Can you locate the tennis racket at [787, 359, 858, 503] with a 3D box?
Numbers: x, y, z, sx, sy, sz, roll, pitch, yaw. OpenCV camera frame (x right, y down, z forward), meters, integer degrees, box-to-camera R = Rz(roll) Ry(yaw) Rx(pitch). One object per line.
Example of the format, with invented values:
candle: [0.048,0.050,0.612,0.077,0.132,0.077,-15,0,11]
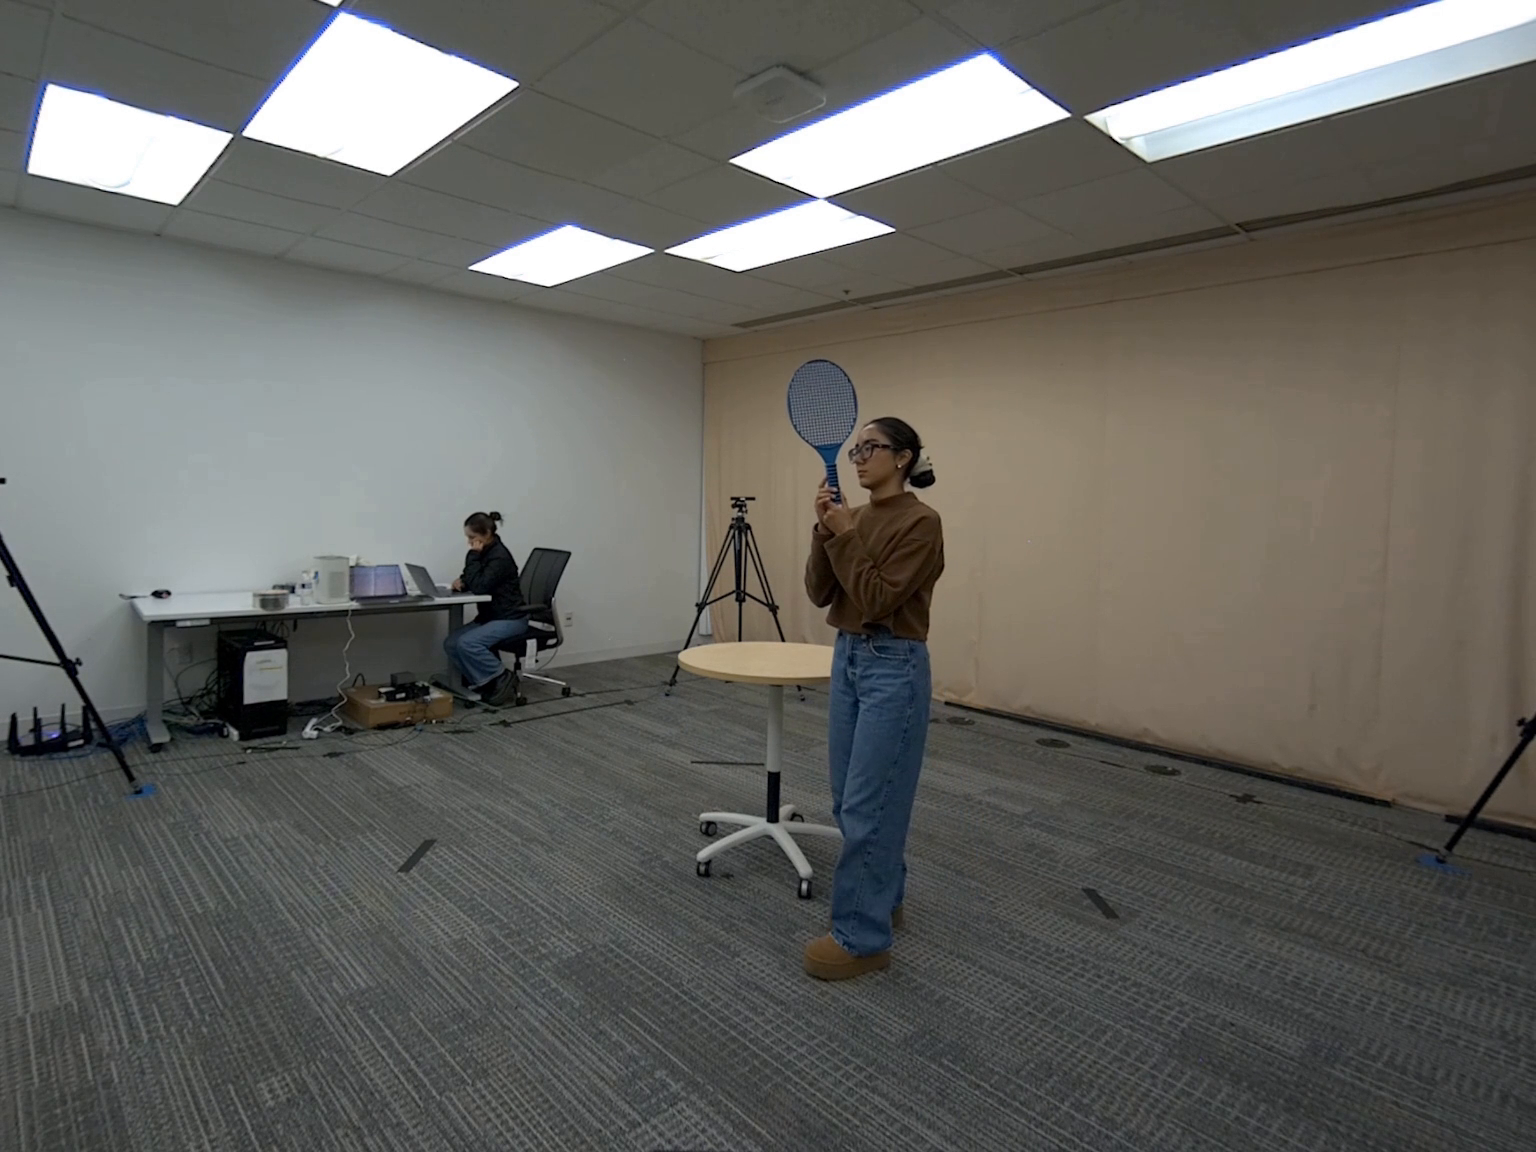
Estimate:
tennis racket: [0.165,-0.424,2.477,0.212,0.433,0.032,-12,0,-9]
